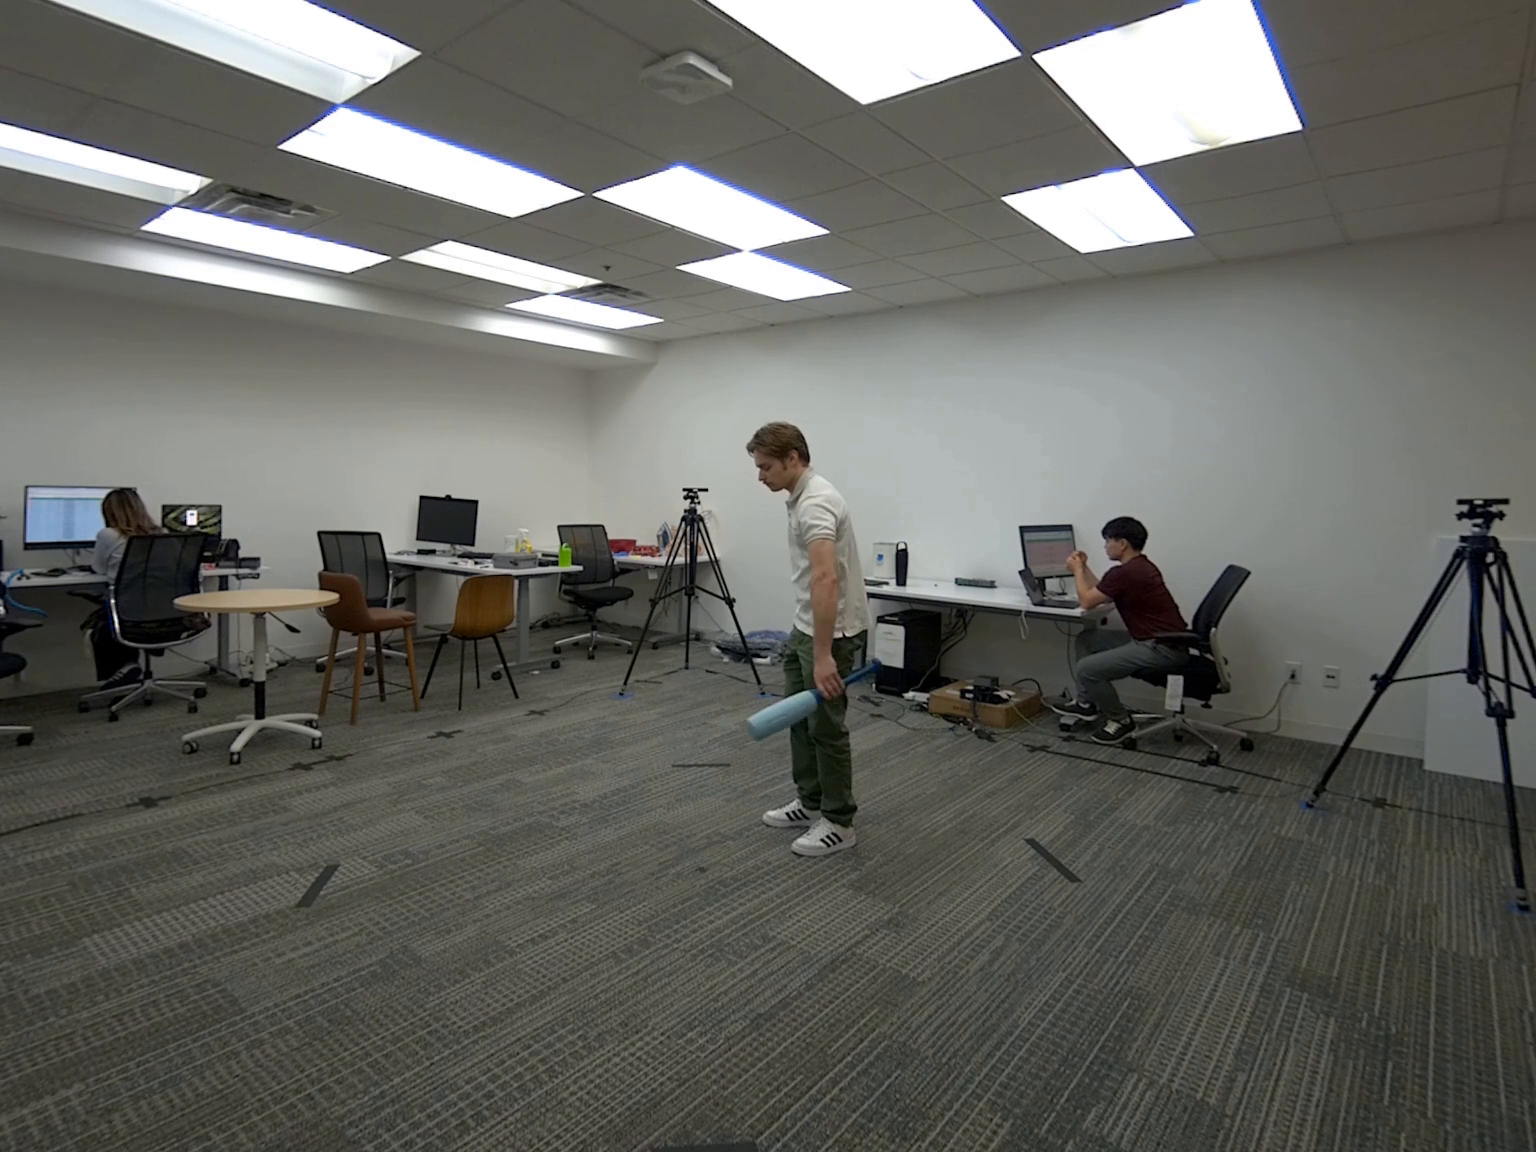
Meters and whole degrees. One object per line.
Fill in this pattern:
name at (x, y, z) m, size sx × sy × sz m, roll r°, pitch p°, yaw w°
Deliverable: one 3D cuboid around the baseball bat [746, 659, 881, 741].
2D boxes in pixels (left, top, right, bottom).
baseball bat at (0.169, 0.423, 2.982) m, size 0.537 × 0.088 × 0.091 m, roll -23°, pitch 12°, yaw -17°
